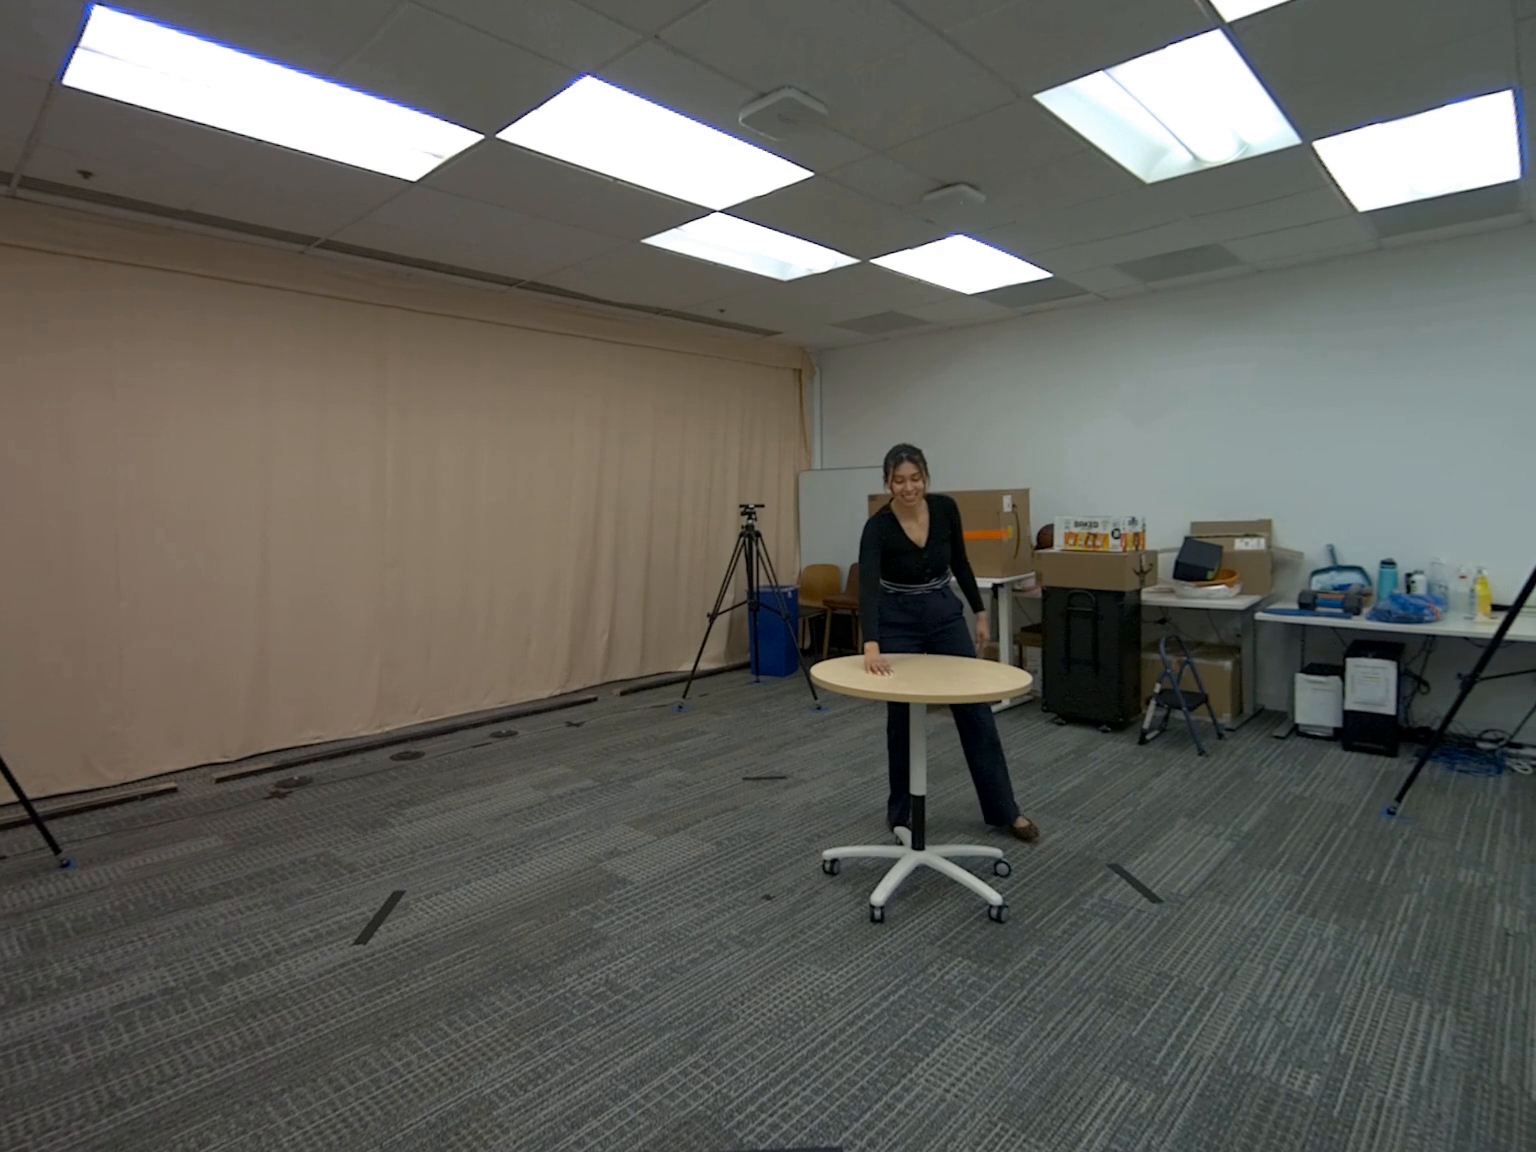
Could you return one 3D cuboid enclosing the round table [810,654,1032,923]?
[{"bbox_3d":[0.543,0.738,3.024,0.763,0.792,0.766,-1,3,-2],"label":"round table"}]
